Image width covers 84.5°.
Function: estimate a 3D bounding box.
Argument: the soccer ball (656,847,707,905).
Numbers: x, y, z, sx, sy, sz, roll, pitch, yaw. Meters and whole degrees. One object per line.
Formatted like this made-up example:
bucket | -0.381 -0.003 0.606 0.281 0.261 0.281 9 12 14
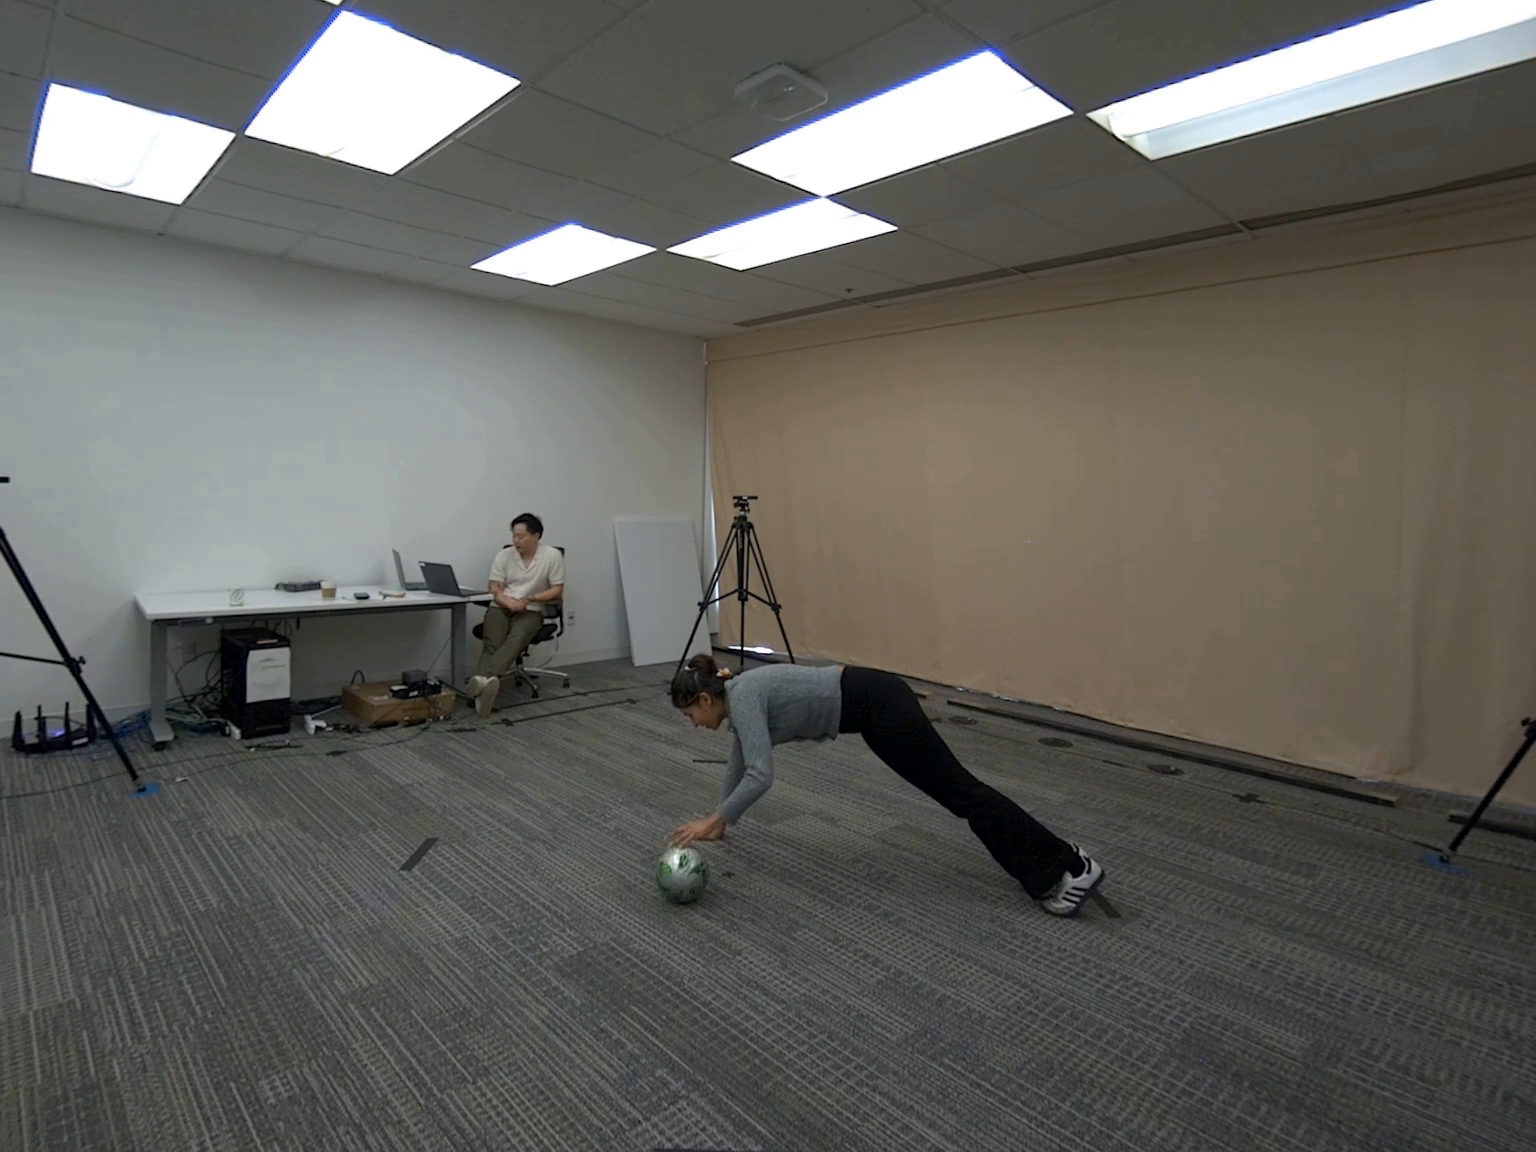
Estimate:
soccer ball | -0.307 1.021 2.904 0.187 0.187 0.188 1 4 -1
